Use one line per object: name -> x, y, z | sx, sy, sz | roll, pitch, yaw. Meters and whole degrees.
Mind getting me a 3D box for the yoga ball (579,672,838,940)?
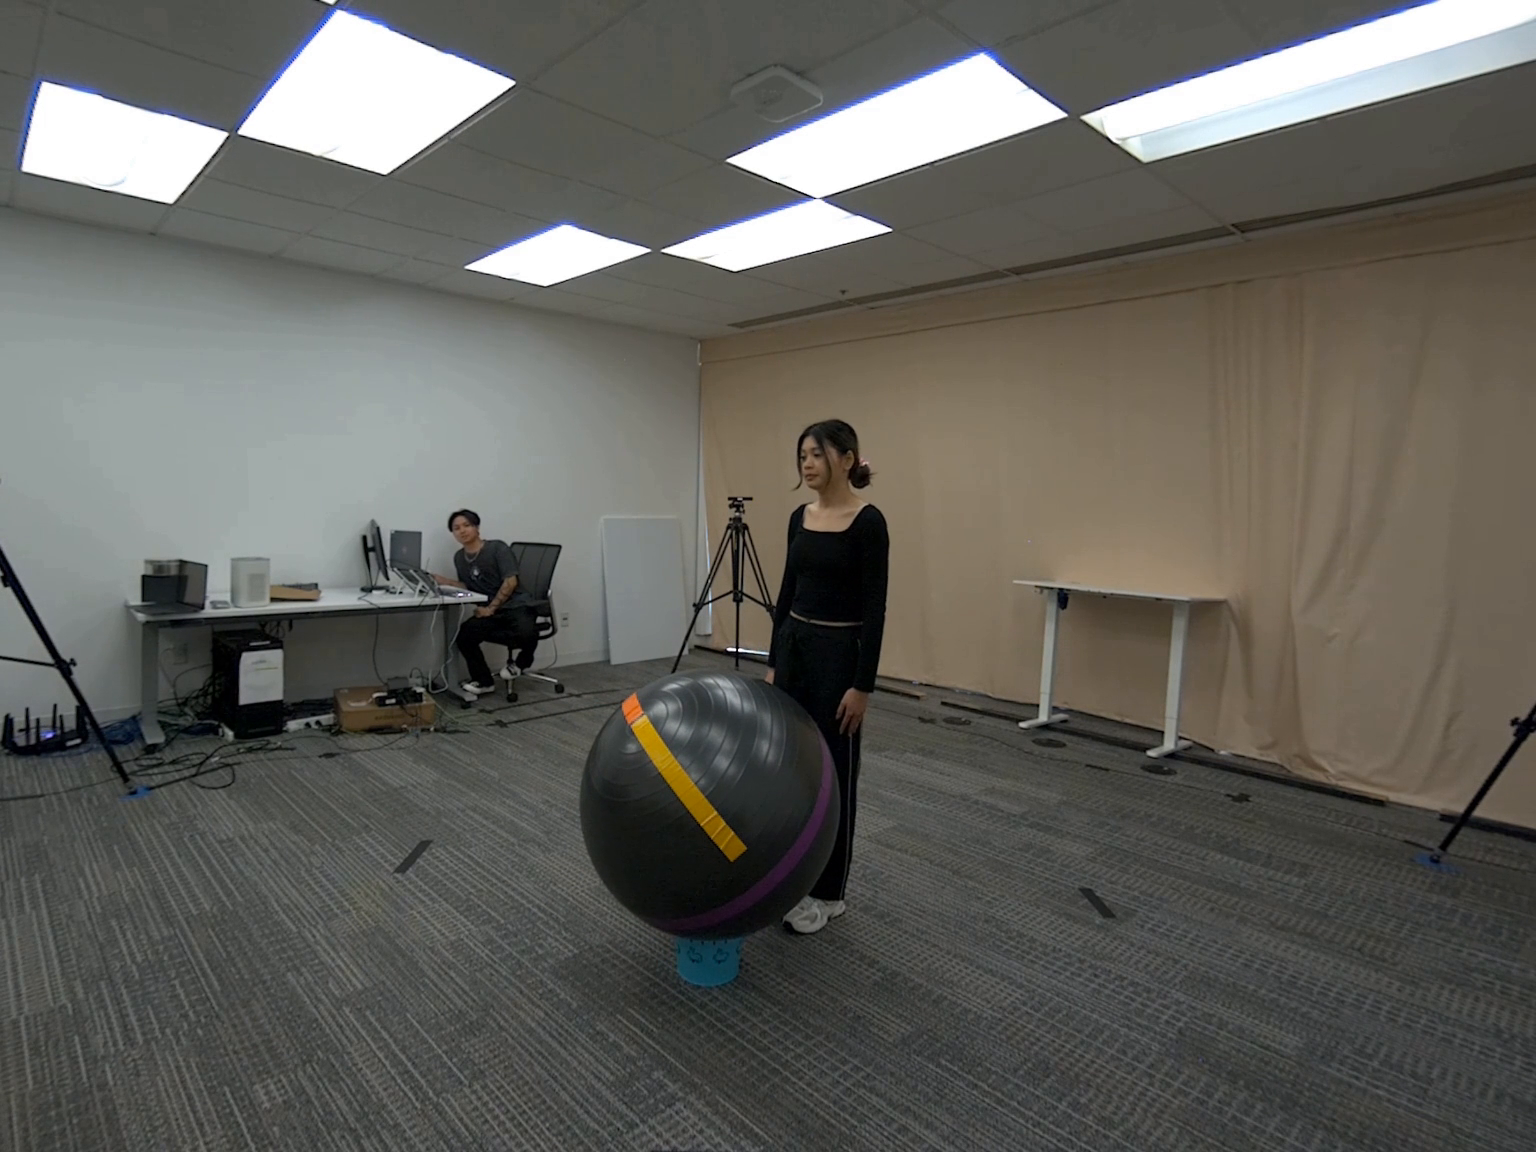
yoga ball -> -0.179, 0.663, 2.452 | 0.757, 0.756, 0.761 | 1, 4, -1
